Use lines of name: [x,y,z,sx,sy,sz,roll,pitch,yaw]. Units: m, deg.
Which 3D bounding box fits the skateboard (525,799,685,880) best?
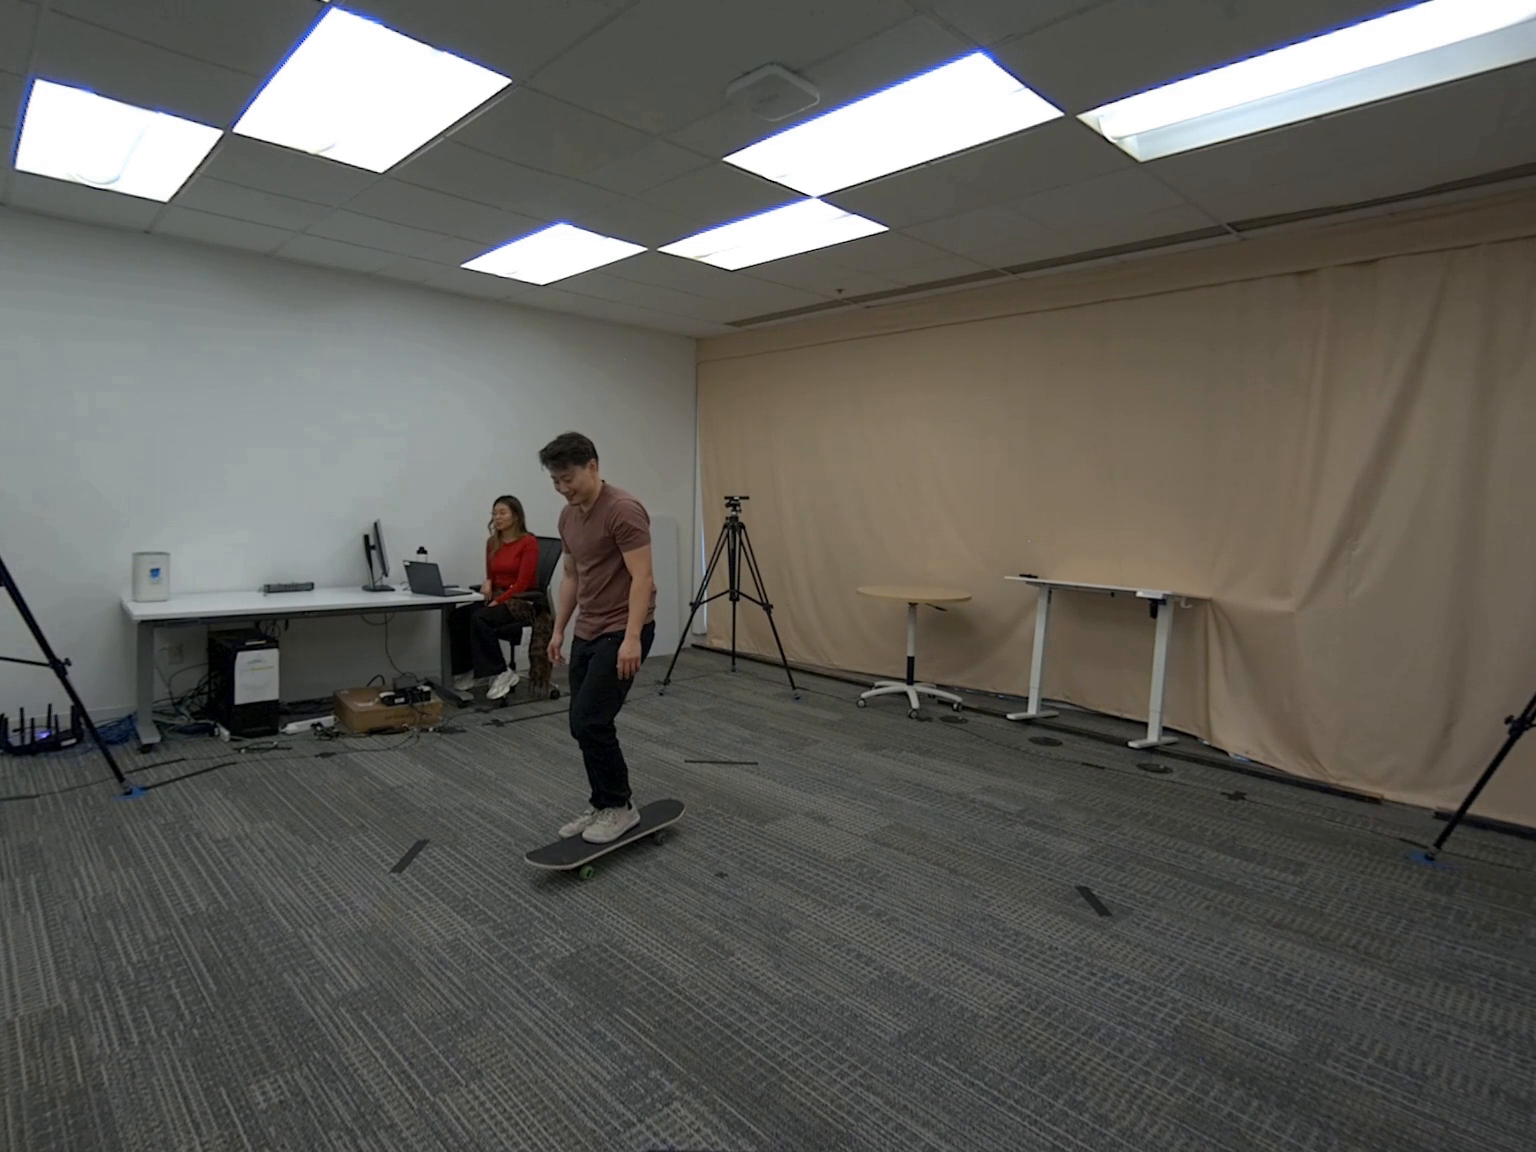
skateboard: [-0.611,1.026,3.252,0.198,0.110,0.769,5,6,34]
